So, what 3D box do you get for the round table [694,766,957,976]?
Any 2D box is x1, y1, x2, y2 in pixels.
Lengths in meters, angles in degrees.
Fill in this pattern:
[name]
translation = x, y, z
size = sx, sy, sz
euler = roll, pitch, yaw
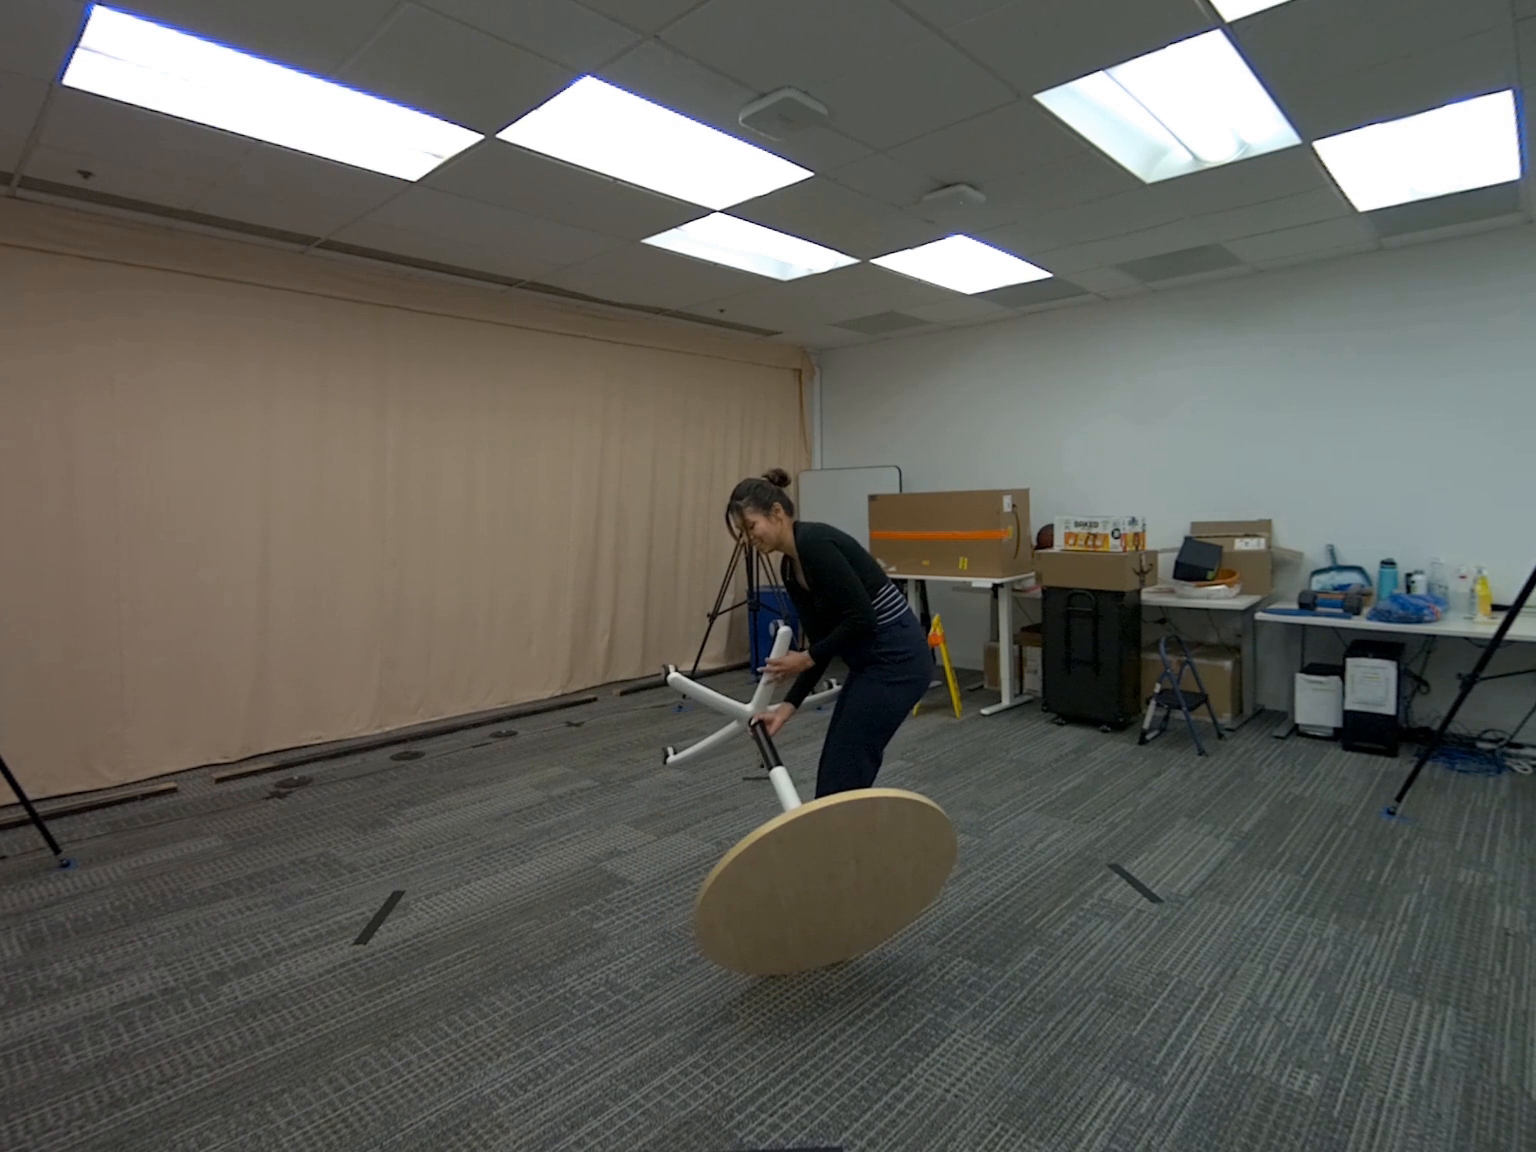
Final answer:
[round table]
translation = 0.052, 0.632, 2.619
size = 0.750, 0.755, 0.818
euler = -2, 35, -19
